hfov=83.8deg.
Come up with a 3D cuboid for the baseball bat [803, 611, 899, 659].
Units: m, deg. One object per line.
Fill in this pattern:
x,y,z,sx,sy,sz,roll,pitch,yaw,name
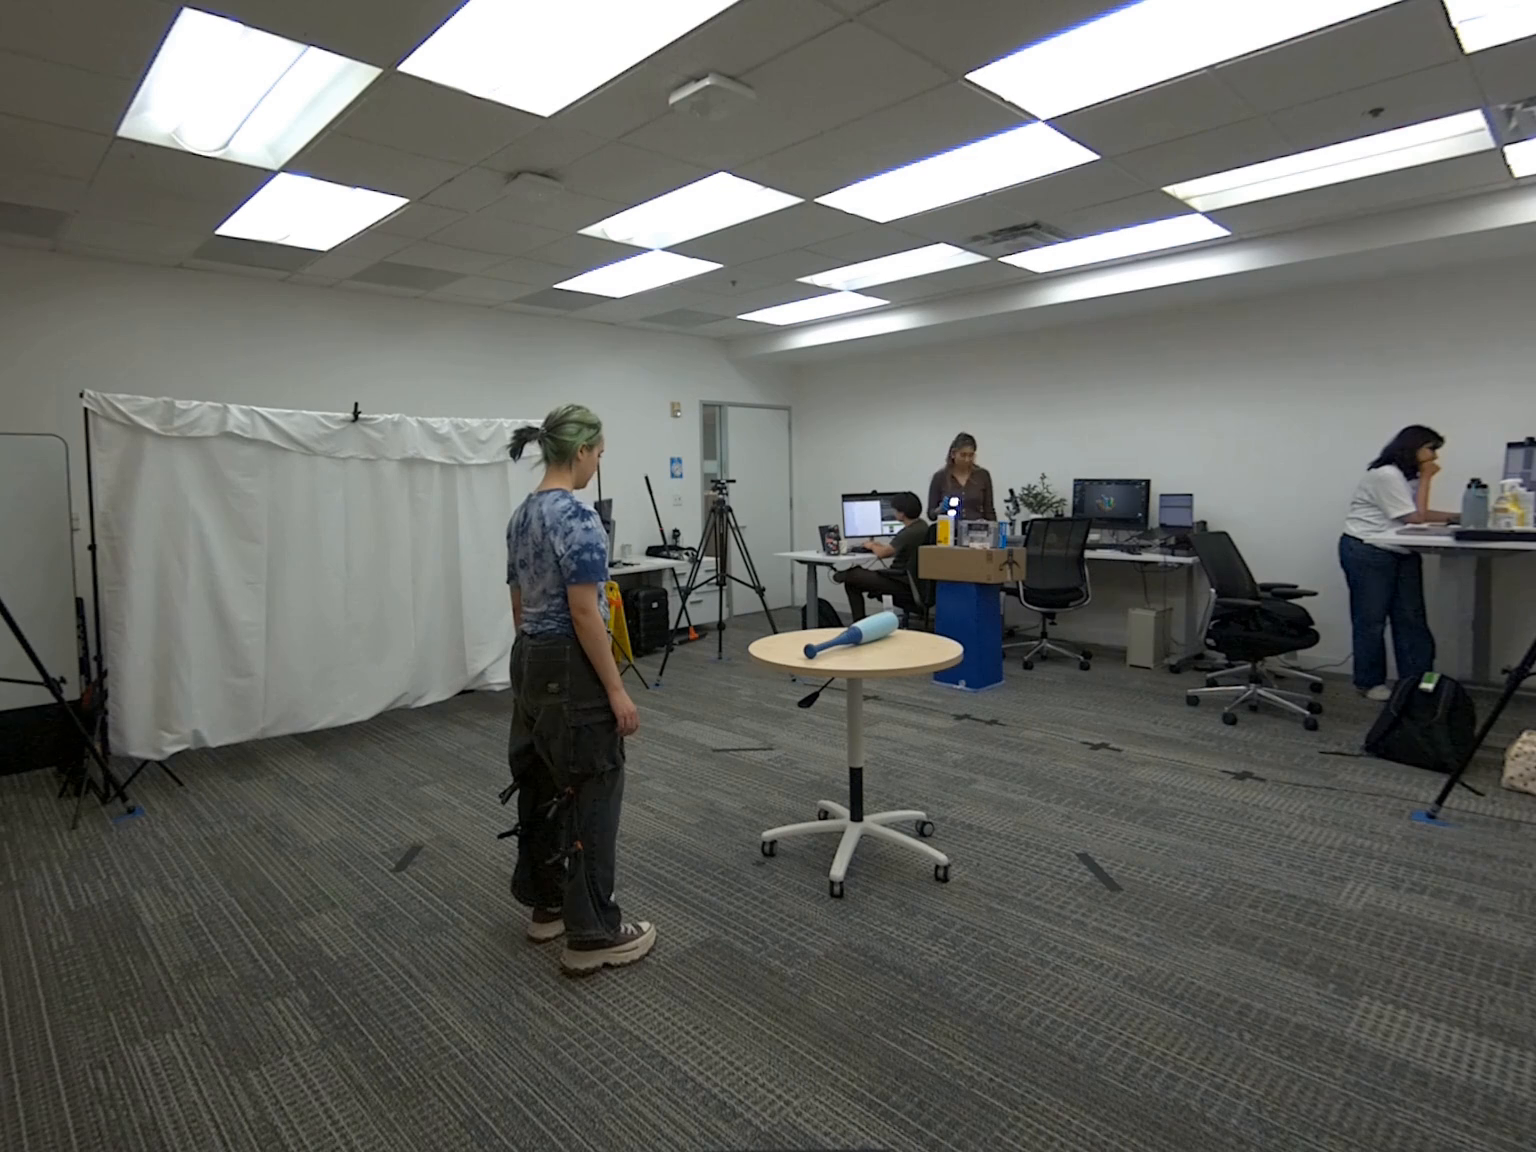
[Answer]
0.308,0.222,3.097,0.092,0.088,0.531,3,11,39,baseball bat
